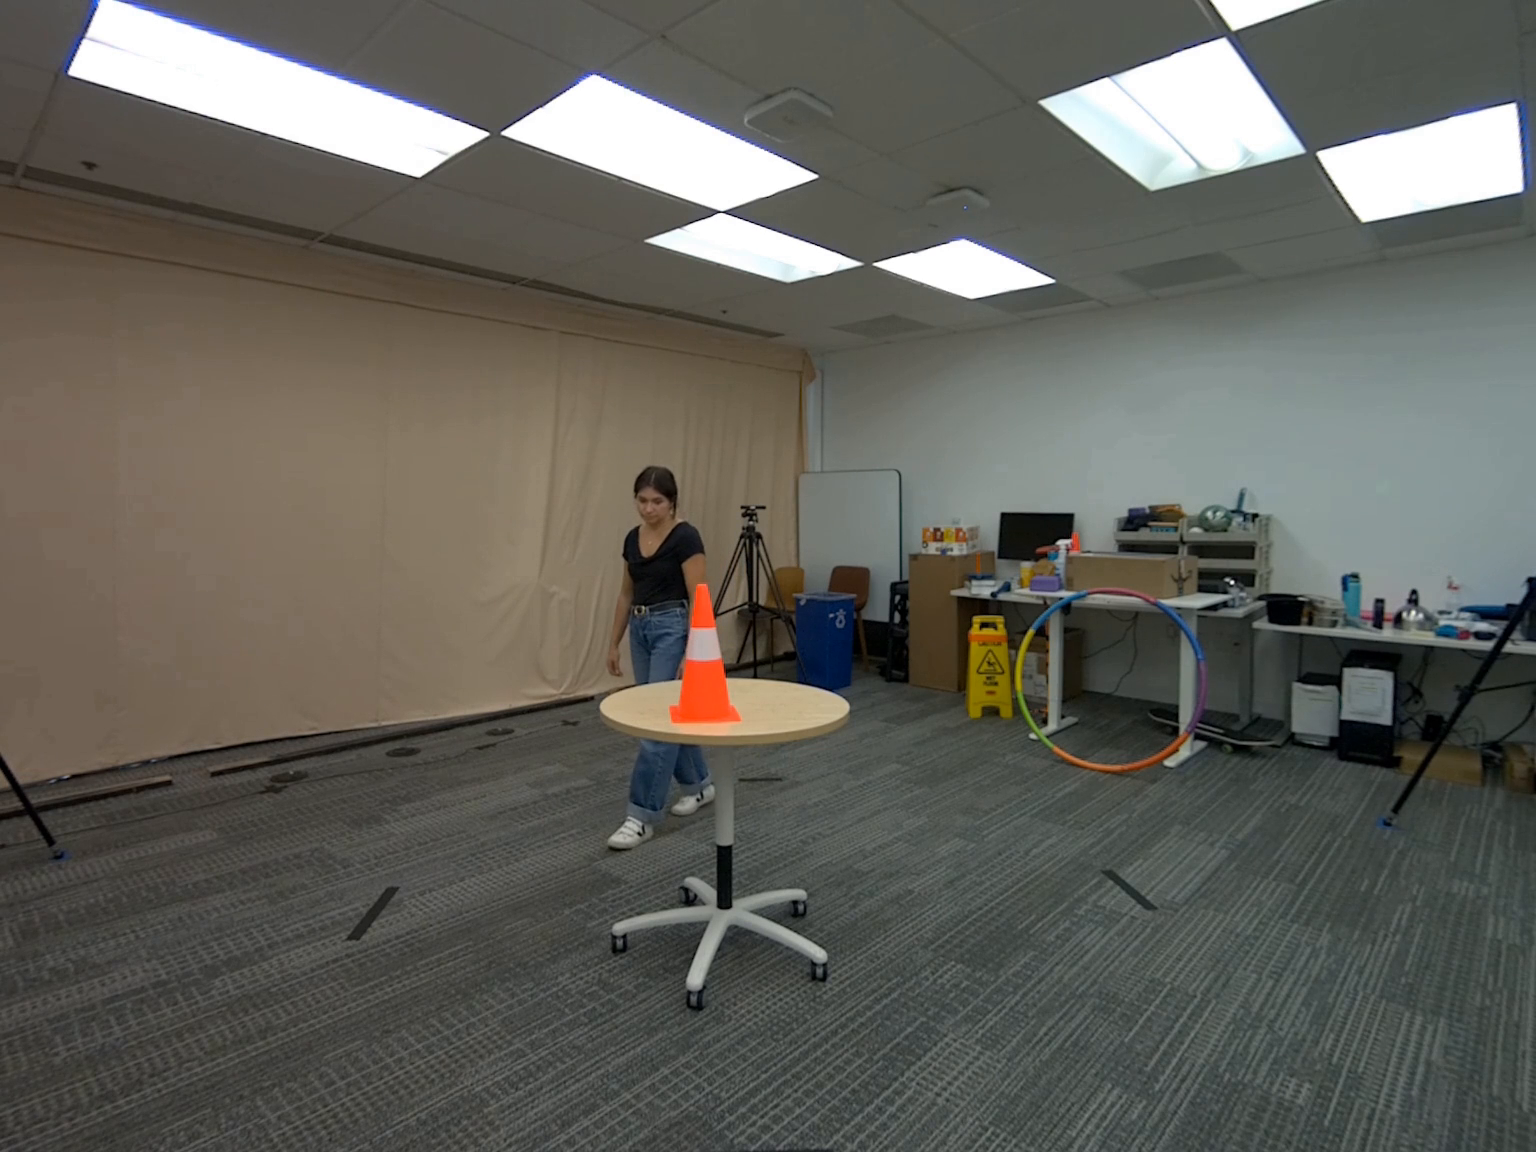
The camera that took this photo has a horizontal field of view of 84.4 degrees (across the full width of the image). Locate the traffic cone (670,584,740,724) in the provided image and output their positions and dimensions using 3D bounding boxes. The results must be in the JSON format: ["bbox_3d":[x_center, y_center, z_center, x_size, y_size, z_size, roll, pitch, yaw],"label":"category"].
[{"bbox_3d":[-0.179,0.221,2.445,0.200,0.383,0.208,-1,1,-15],"label":"traffic cone"}]
